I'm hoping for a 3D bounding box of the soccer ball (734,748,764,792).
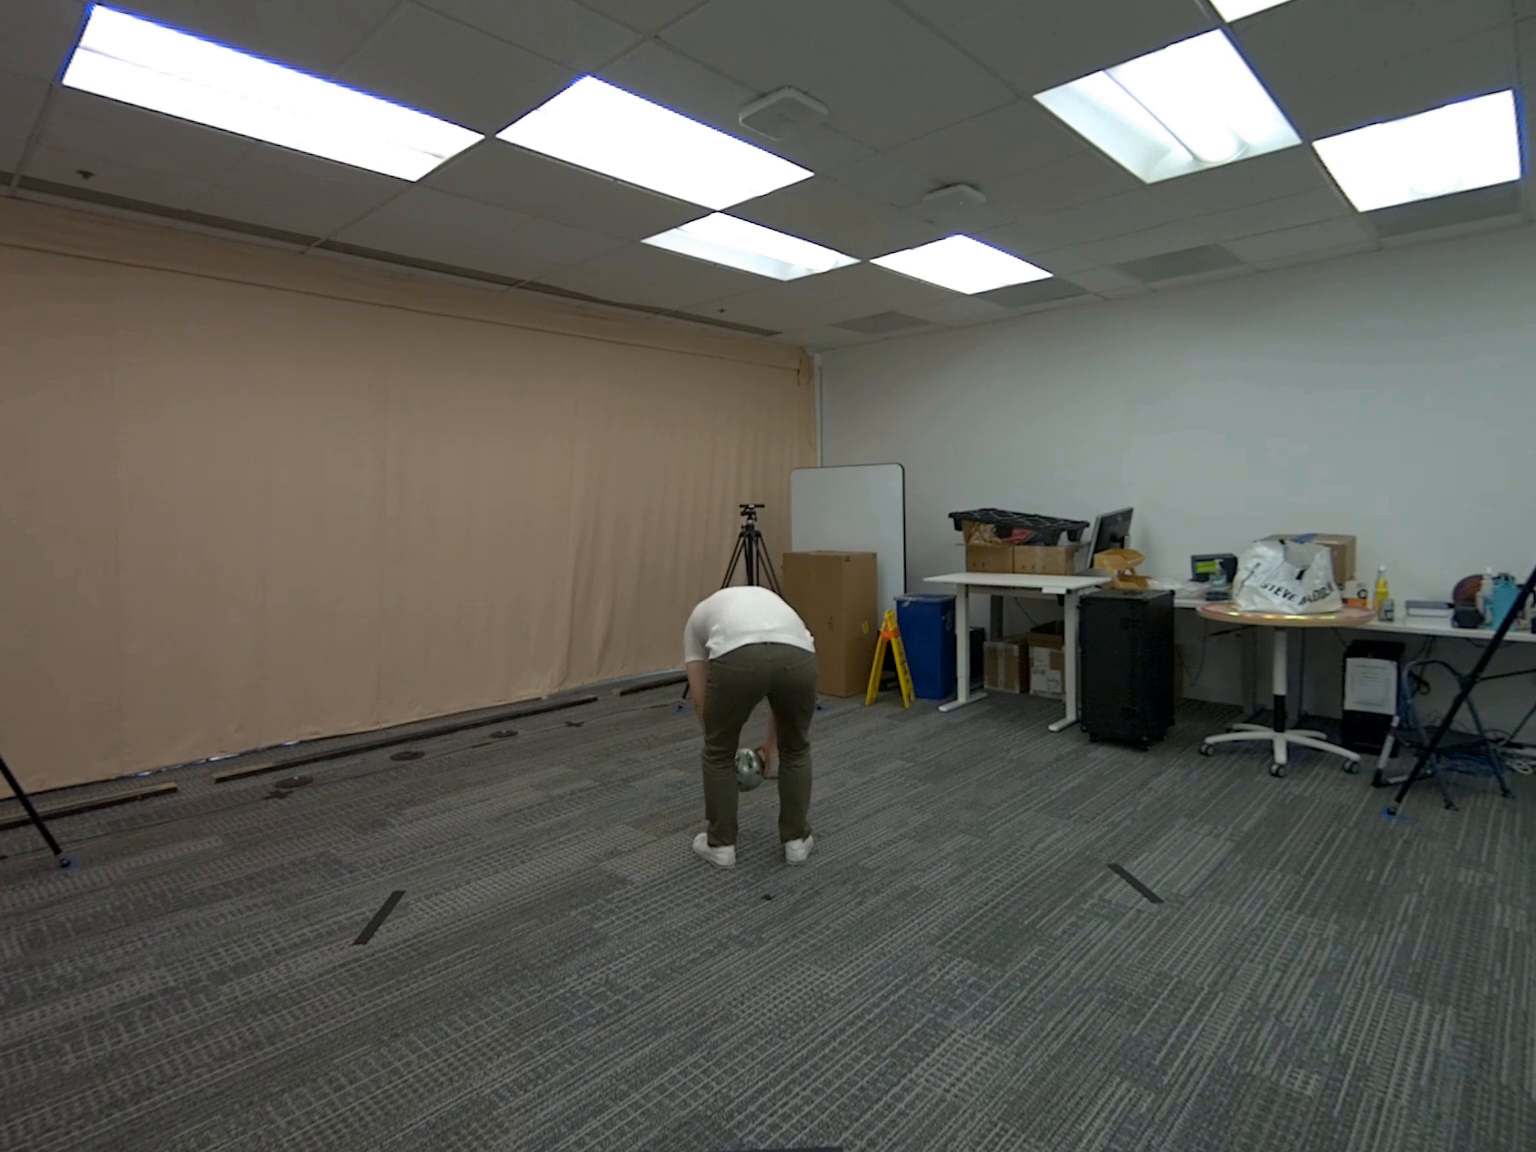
[{"bbox_3d":[-0.099,0.816,3.609,0.187,0.187,0.188,-1,4,-2],"label":"soccer ball"}]
